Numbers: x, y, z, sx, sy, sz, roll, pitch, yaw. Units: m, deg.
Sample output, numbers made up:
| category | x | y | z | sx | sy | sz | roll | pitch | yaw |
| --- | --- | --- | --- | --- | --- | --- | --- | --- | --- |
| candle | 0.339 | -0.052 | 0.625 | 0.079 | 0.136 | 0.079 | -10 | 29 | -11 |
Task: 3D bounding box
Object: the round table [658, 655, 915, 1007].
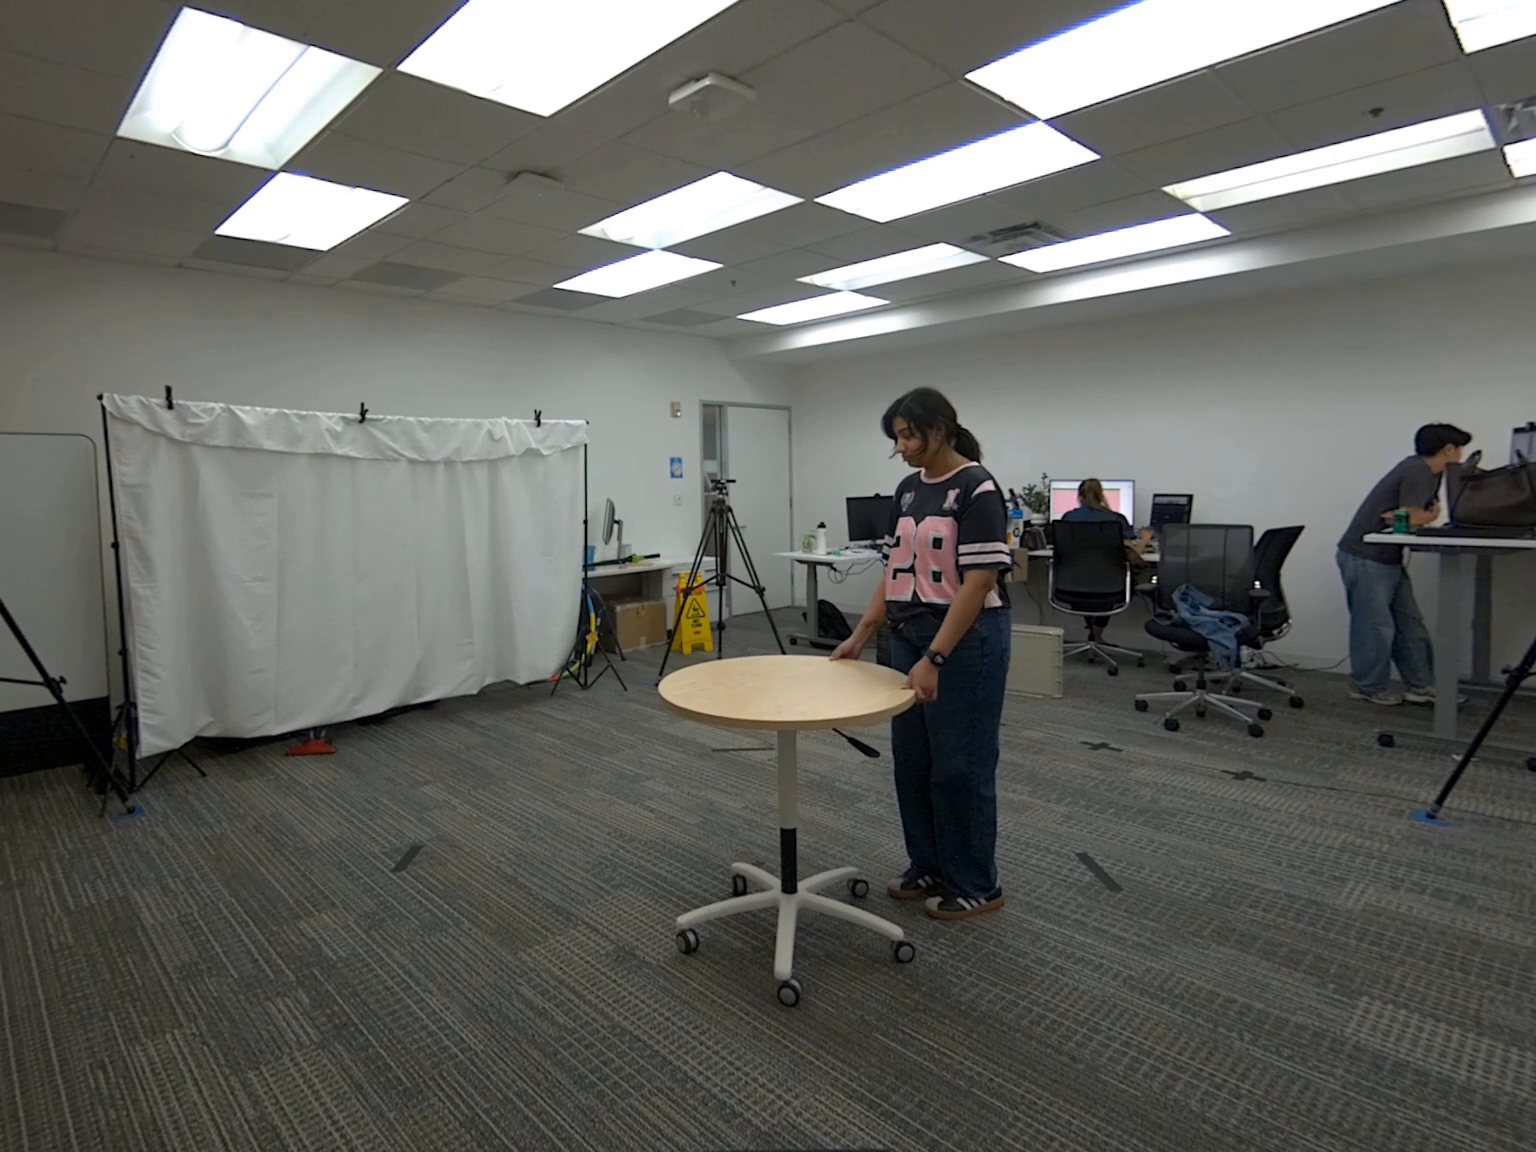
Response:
| category | x | y | z | sx | sy | sz | roll | pitch | yaw |
| --- | --- | --- | --- | --- | --- | --- | --- | --- | --- |
| round table | 0.064 | 0.716 | 2.593 | 0.763 | 0.790 | 0.768 | -2 | 6 | -2 |
